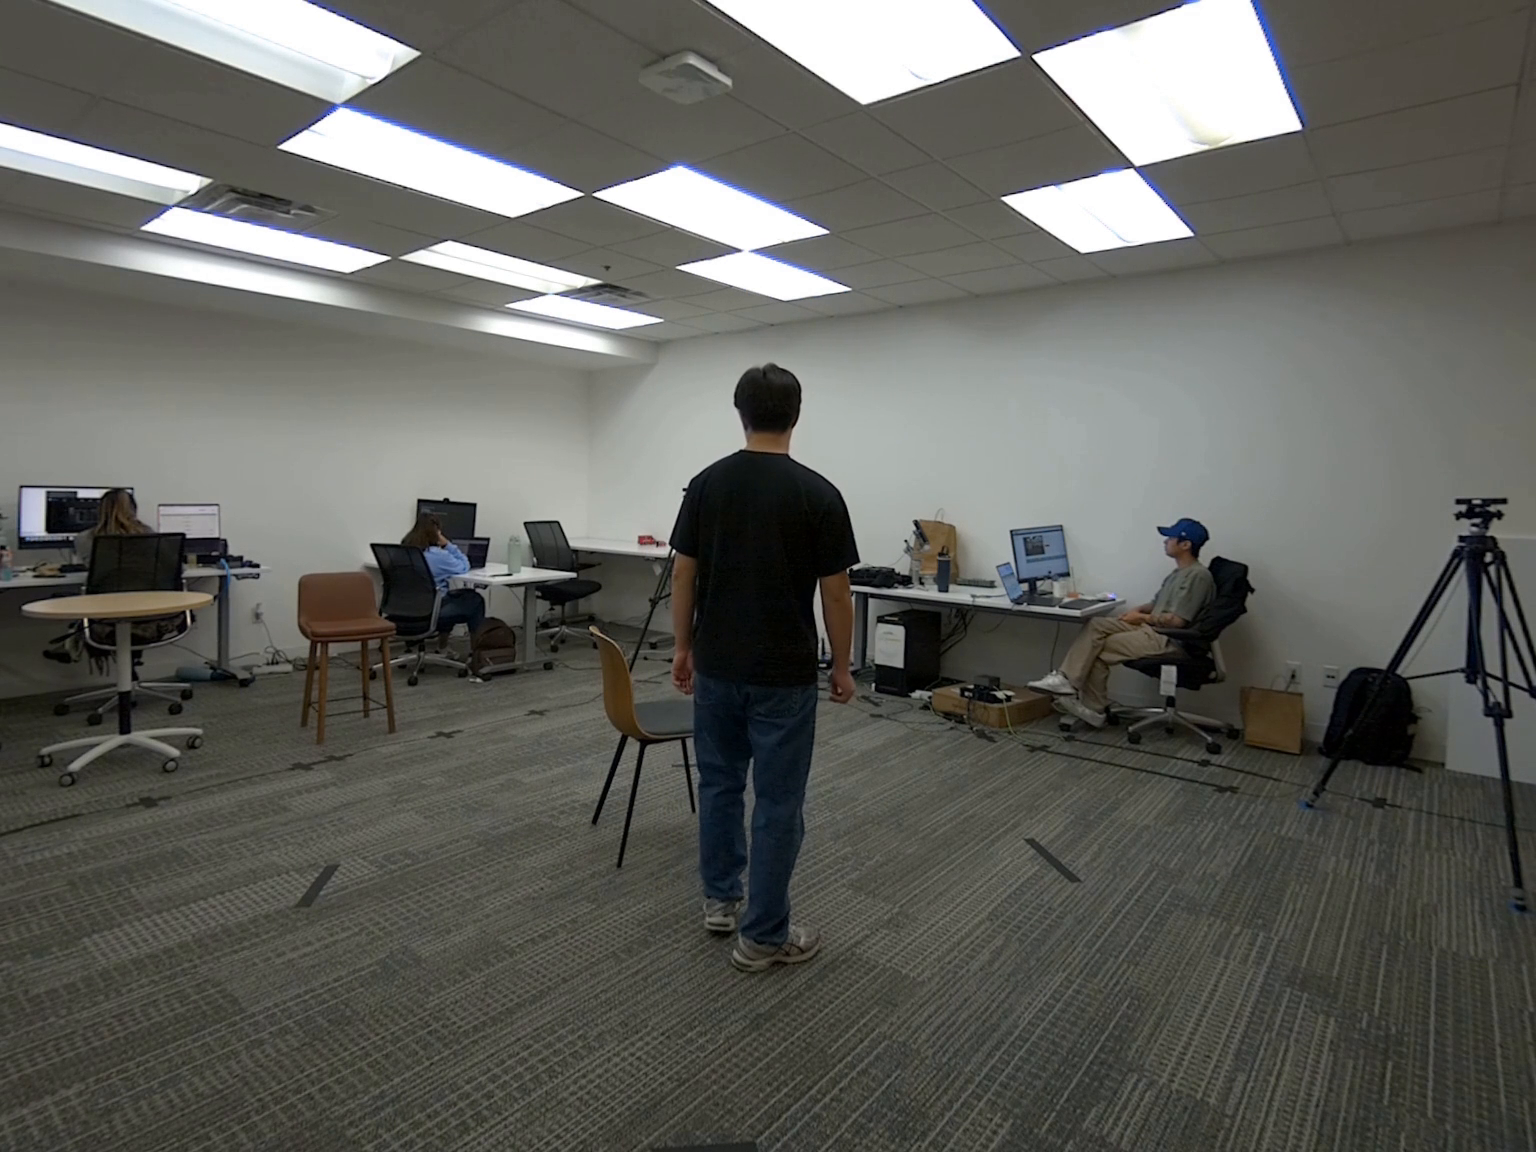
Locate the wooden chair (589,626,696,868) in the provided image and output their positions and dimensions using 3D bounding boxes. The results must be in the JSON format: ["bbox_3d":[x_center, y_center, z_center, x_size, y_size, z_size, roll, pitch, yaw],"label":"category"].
[{"bbox_3d":[-0.429,0.613,3.360,0.513,0.873,0.490,-5,5,-22],"label":"wooden chair"}]
